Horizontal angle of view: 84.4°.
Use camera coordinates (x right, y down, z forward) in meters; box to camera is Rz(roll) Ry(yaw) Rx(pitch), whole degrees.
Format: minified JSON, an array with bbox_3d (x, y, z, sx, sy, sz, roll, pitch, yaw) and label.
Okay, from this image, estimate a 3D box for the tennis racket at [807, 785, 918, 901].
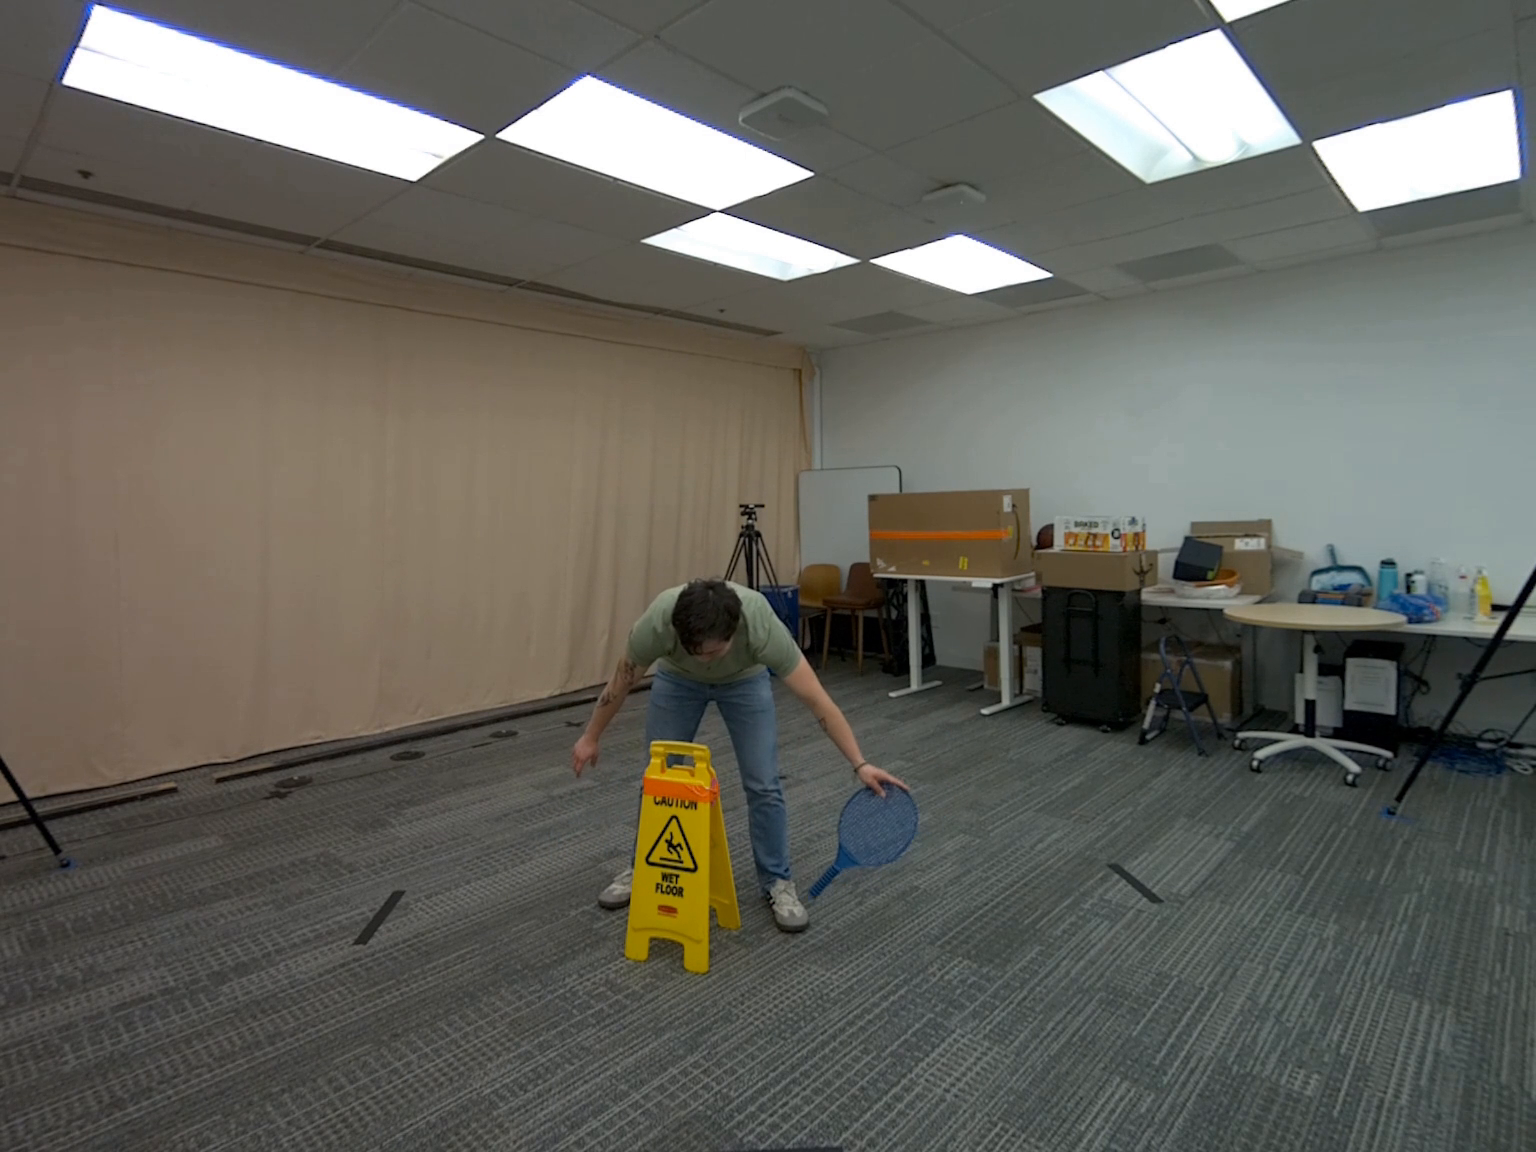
[{"bbox_3d":[0.294,0.818,2.524,0.219,0.433,0.031,38,3,20],"label":"tennis racket"}]
